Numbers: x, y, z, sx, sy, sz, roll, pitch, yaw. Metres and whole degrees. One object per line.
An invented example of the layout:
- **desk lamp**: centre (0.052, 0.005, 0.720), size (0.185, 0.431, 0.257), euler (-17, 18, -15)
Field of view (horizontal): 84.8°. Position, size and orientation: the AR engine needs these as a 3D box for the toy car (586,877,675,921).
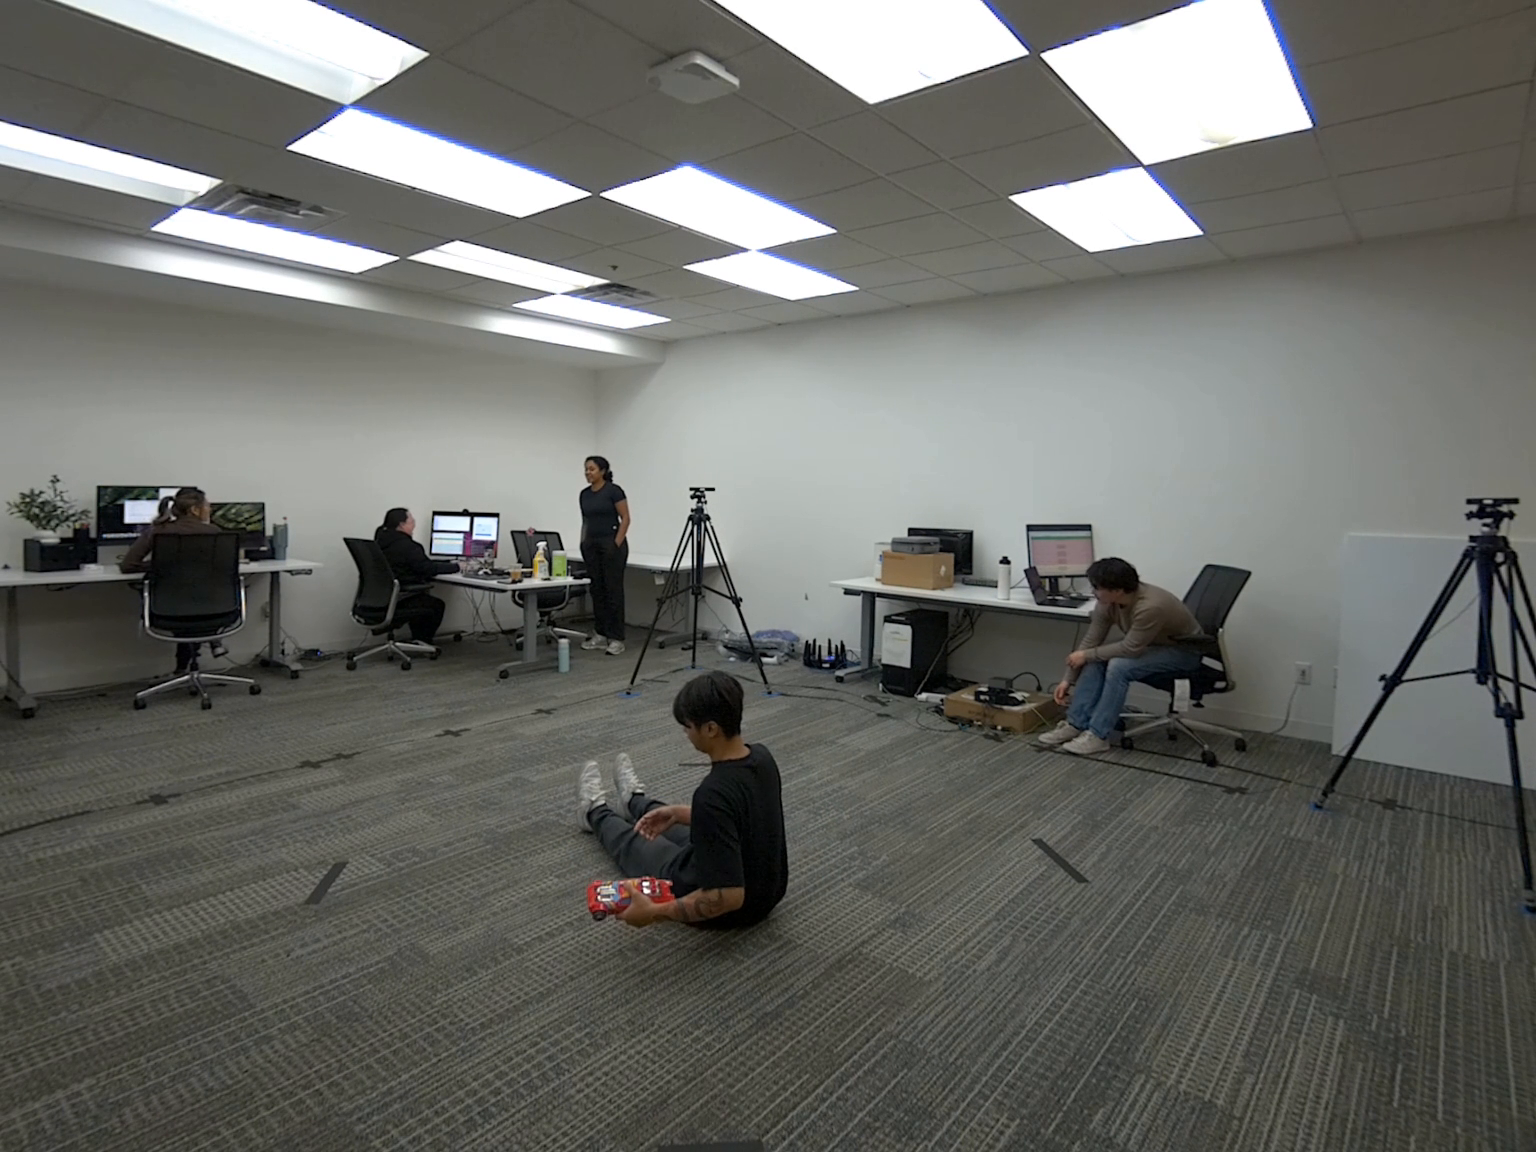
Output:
- **toy car**: centre (-0.416, 0.948, 2.507), size (0.252, 0.081, 0.134), euler (-6, 27, -8)
